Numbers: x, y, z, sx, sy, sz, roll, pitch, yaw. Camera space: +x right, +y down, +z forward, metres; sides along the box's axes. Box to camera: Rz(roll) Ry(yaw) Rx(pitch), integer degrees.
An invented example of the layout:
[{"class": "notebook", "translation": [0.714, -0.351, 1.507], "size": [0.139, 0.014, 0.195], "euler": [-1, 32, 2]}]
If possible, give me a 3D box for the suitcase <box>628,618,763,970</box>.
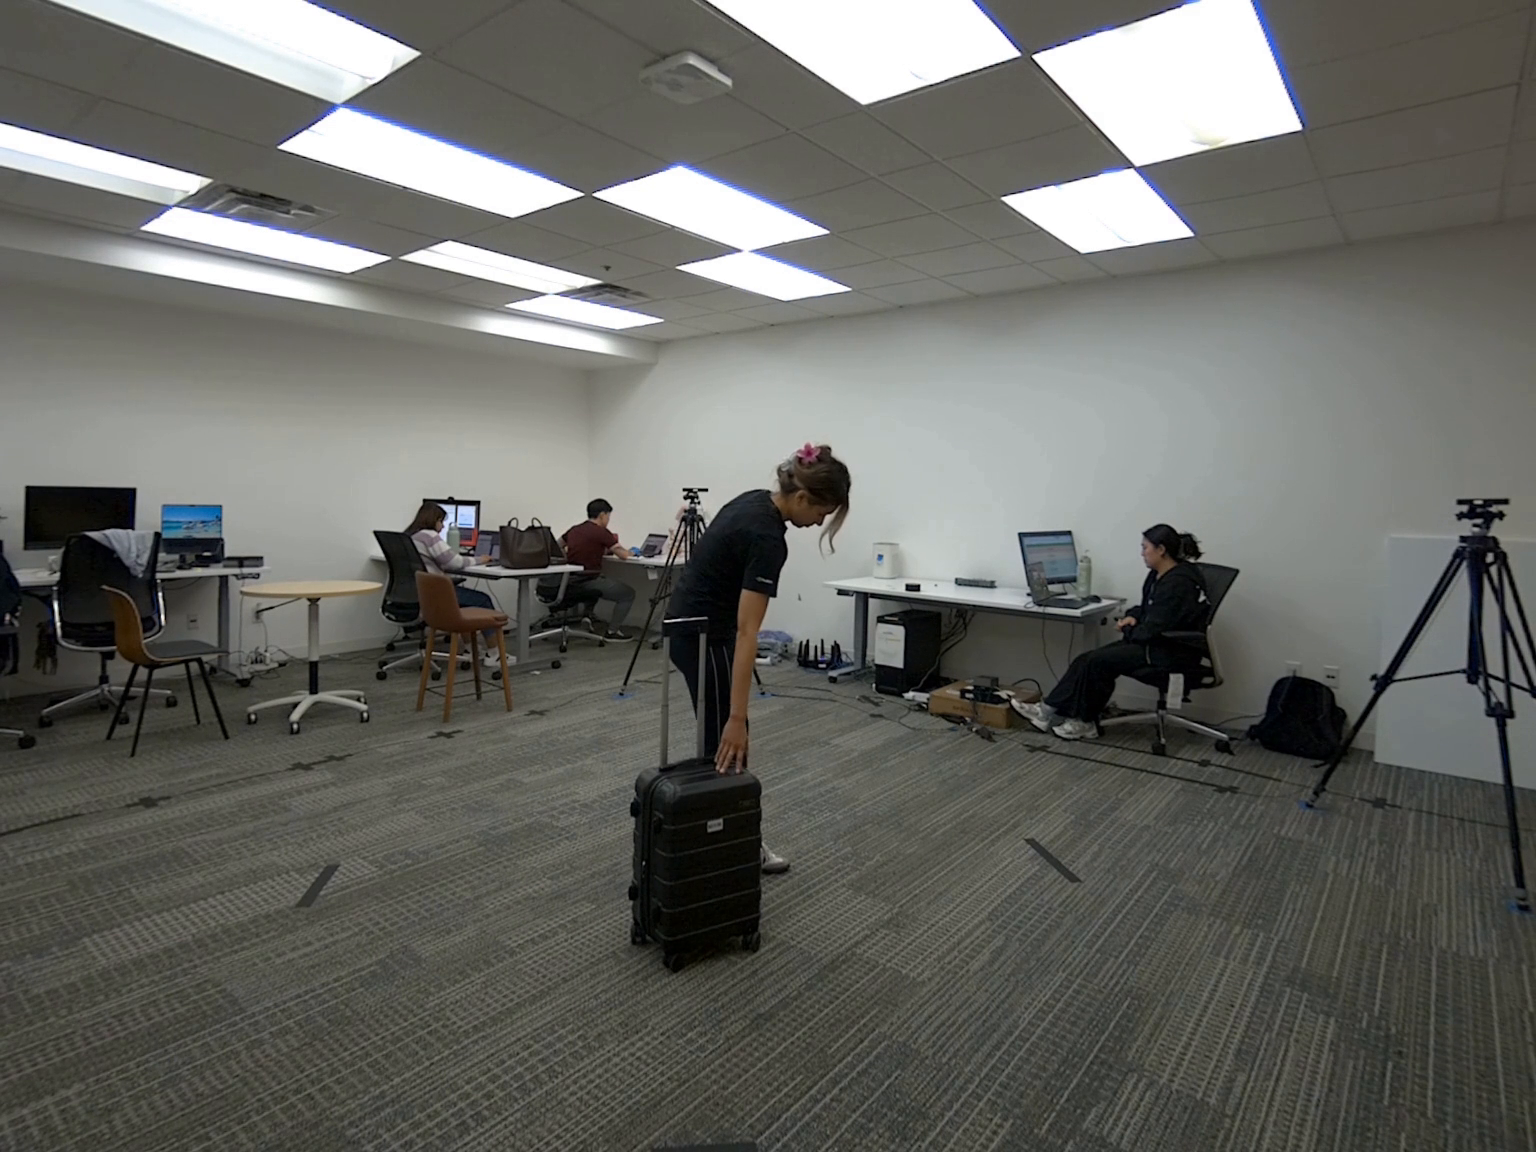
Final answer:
[{"class": "suitcase", "translation": [-0.218, 0.646, 2.571], "size": [0.373, 0.974, 0.265], "euler": [-1, 5, -31]}]
